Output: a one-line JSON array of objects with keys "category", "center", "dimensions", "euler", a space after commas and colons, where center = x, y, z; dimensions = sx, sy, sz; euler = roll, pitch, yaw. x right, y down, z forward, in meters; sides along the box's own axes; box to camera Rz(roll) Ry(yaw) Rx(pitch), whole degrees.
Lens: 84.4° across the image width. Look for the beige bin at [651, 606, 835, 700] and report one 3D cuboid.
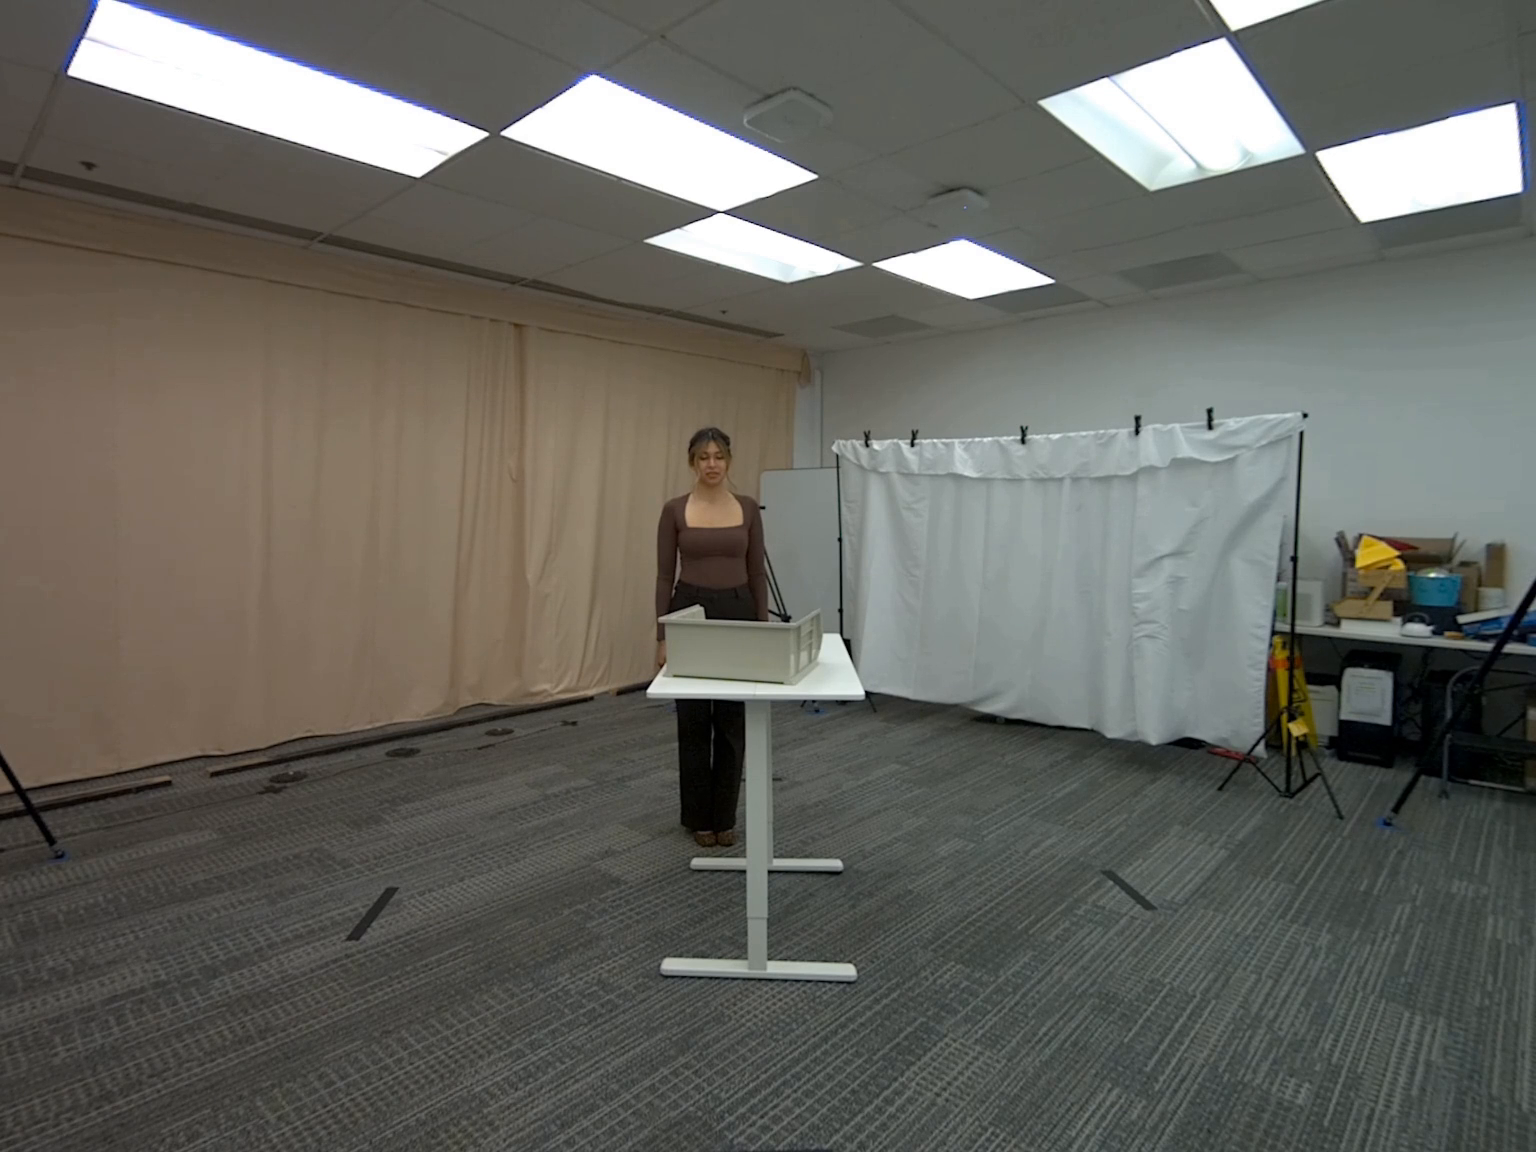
[{"category": "beige bin", "center": [-0.065, 0.206, 2.622], "dimensions": [0.430, 0.188, 0.372], "euler": [1, 7, 17]}]
